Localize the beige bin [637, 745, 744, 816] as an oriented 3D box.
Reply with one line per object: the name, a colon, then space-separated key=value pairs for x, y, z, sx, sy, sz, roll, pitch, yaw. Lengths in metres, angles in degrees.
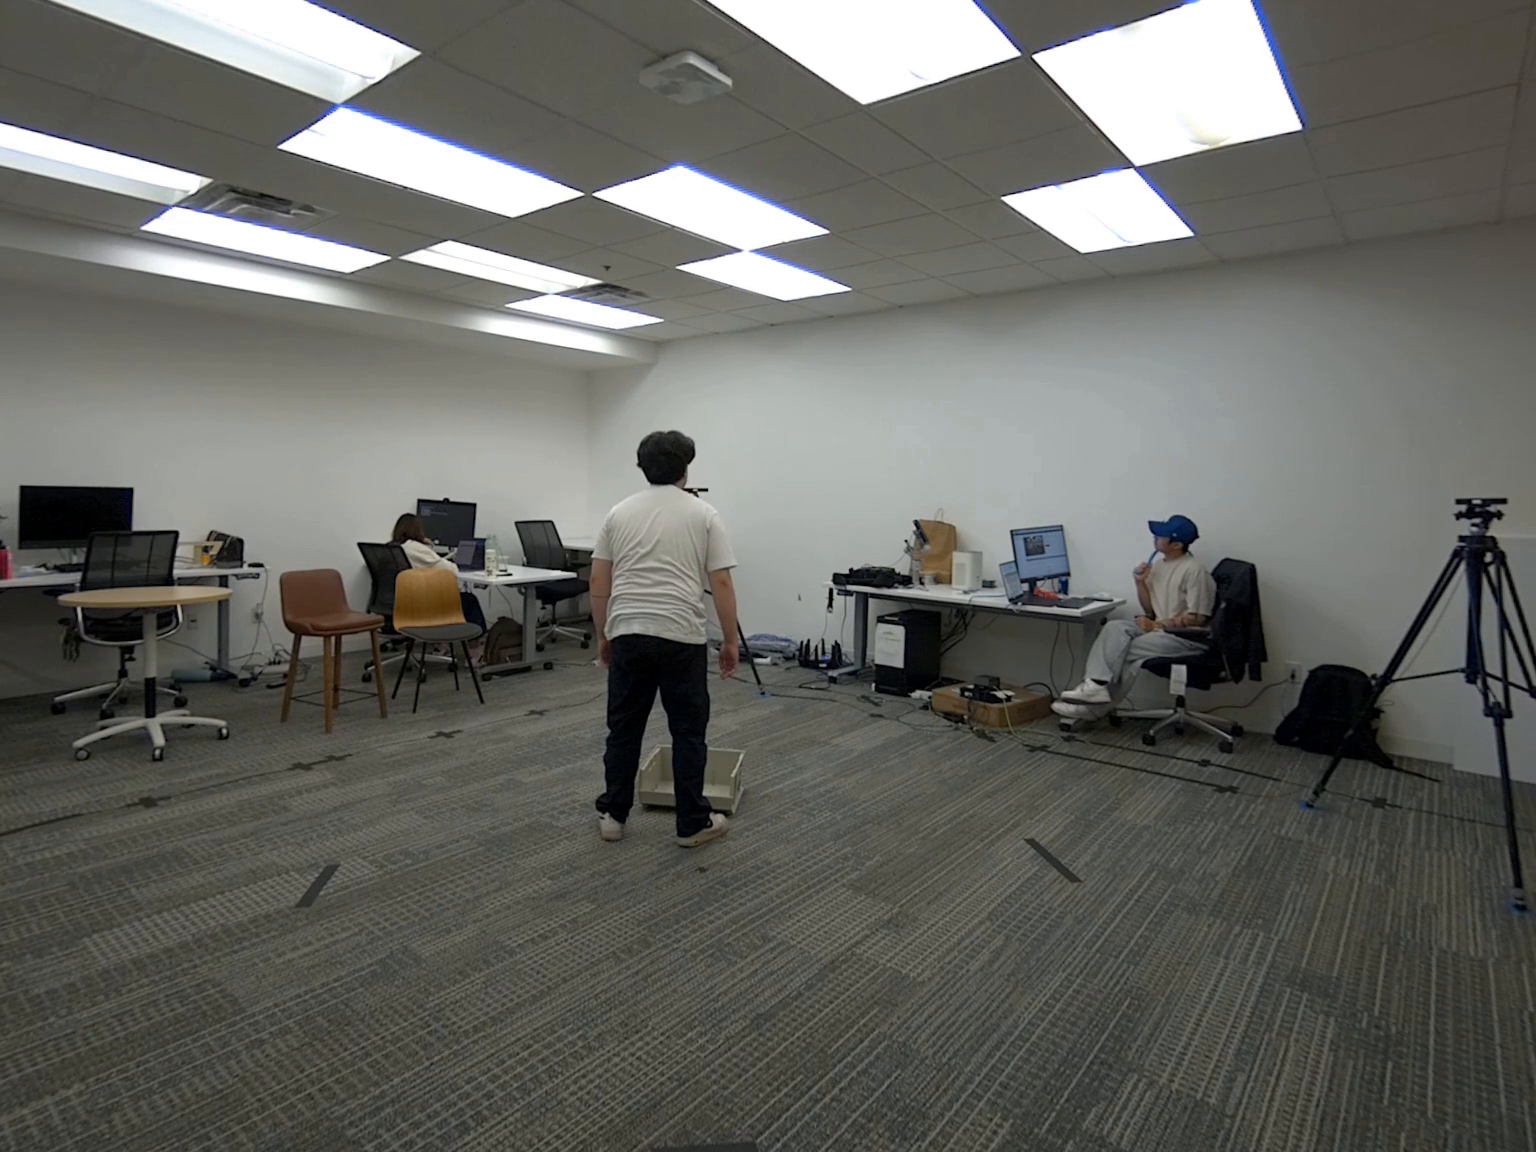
beige bin: x=-0.343 y=0.909 z=3.808 sx=0.426 sy=0.188 sz=0.375 roll=1 pitch=4 yaw=7
